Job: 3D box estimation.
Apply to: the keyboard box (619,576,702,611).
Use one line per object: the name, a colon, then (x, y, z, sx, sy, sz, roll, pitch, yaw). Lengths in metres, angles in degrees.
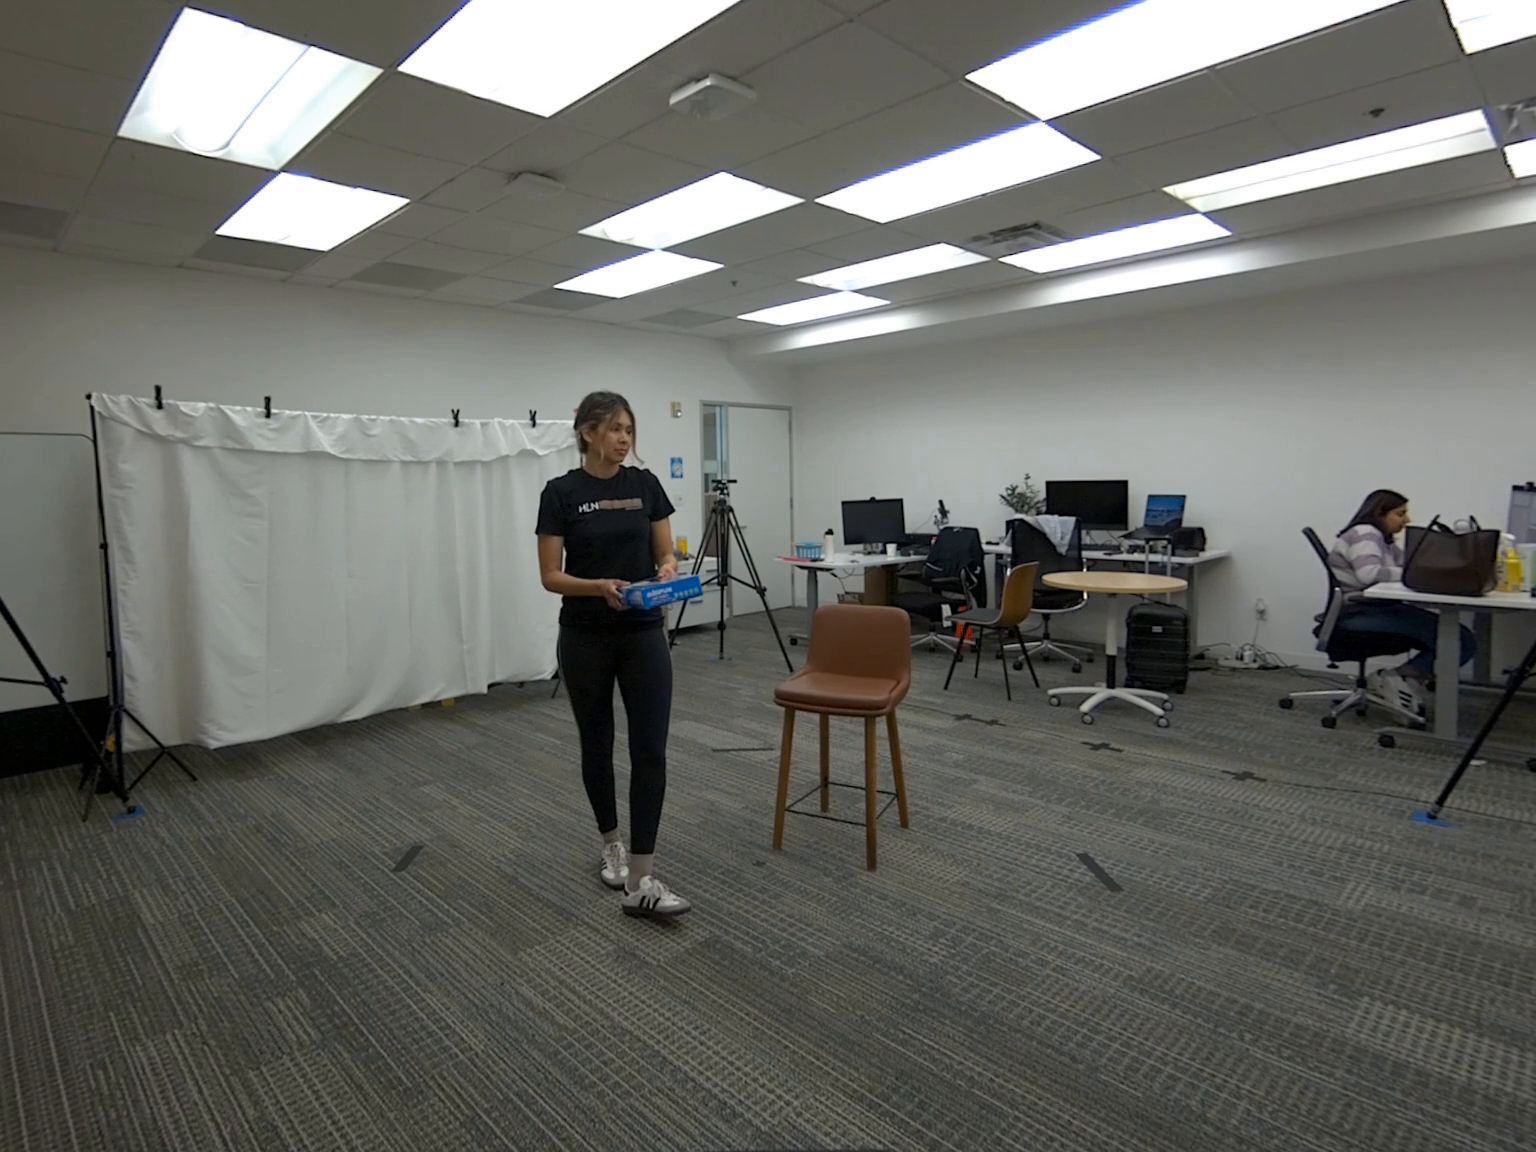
keyboard box: (-0.336, 0.048, 2.566, 0.174, 0.059, 0.443, -14, 4, -17)
